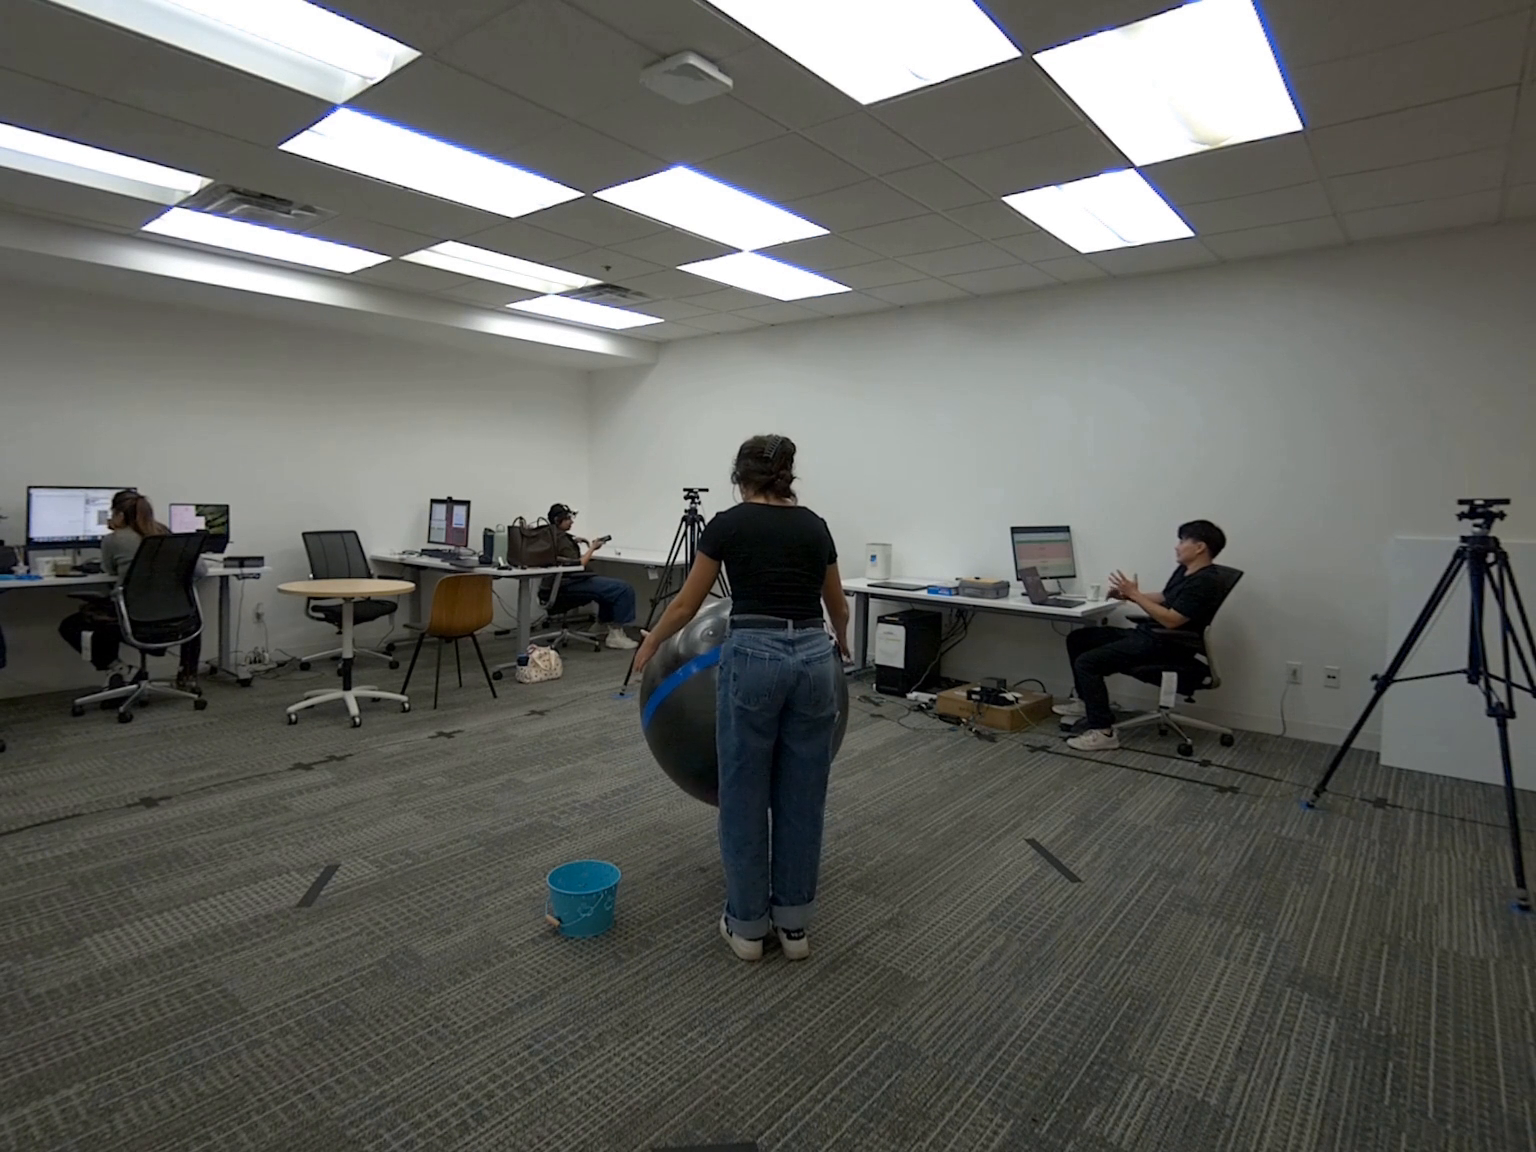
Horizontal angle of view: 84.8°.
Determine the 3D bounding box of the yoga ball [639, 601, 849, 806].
[{"bbox_3d":[-0.094,0.491,3.099,0.757,0.755,0.762,1,4,-2],"label":"yoga ball"}]
